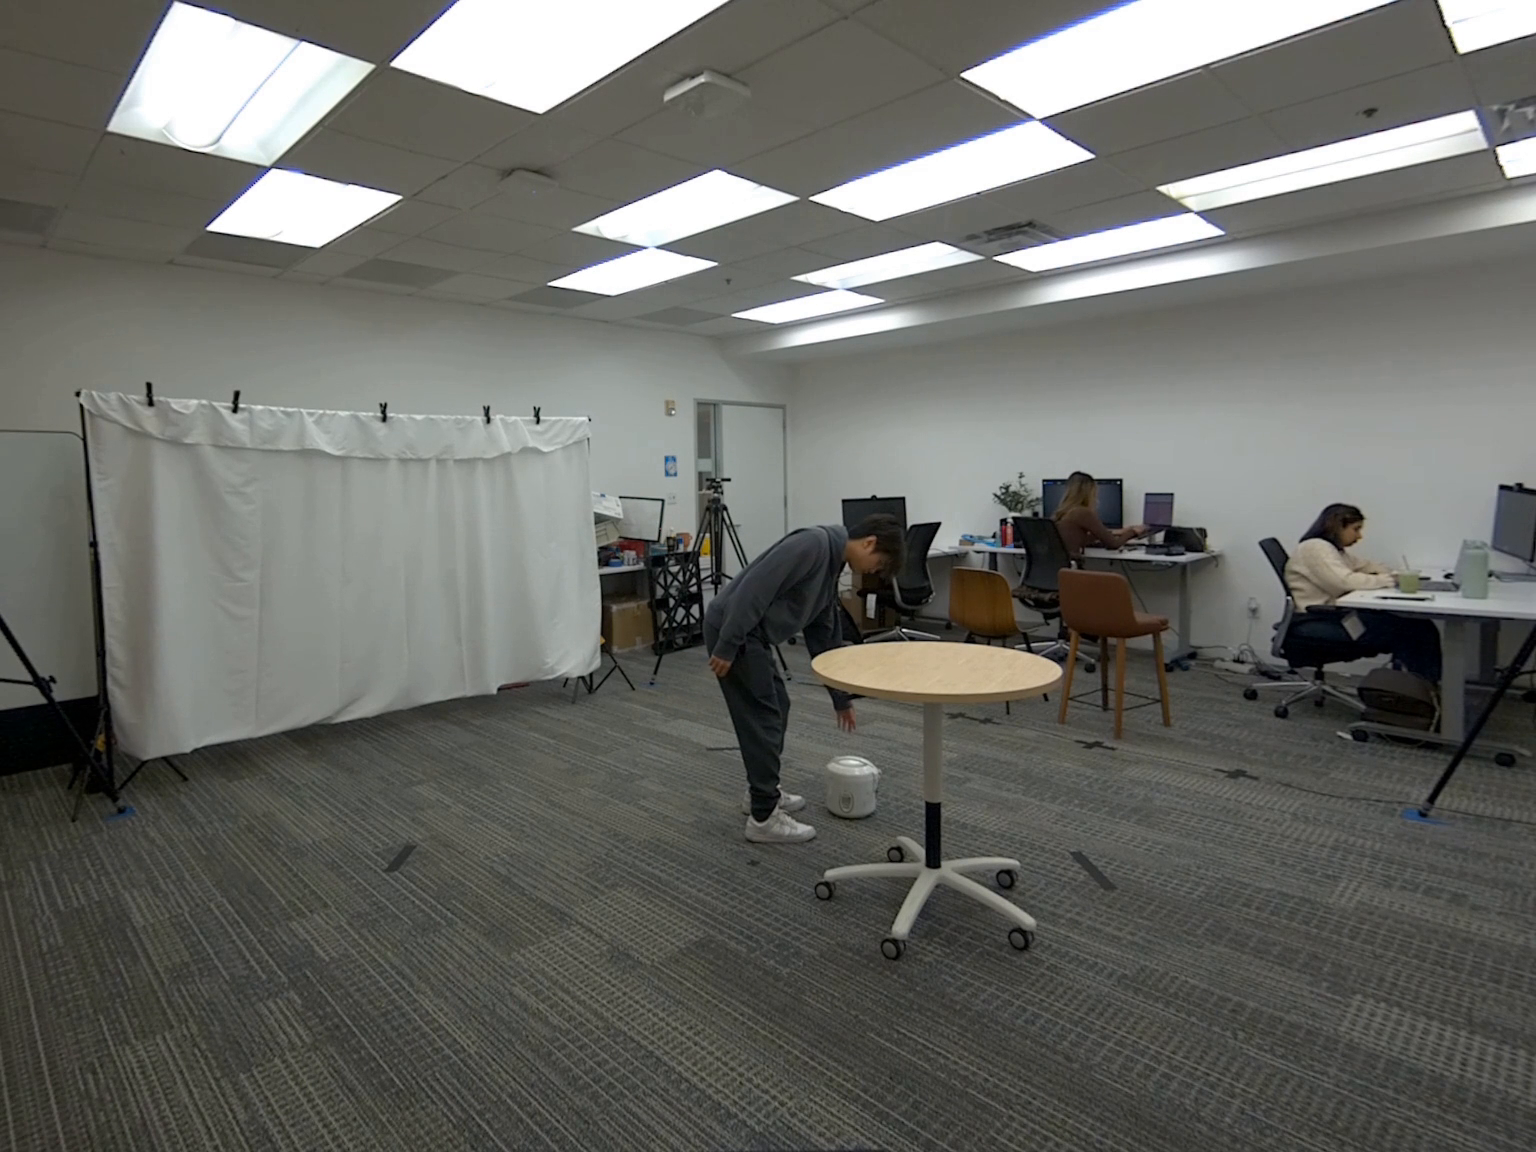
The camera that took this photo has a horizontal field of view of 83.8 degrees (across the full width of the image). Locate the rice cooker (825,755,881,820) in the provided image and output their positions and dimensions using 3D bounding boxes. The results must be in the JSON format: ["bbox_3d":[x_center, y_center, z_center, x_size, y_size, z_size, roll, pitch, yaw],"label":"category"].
[{"bbox_3d":[0.348,0.862,3.556,0.225,0.232,0.214,1,5,19],"label":"rice cooker"}]
